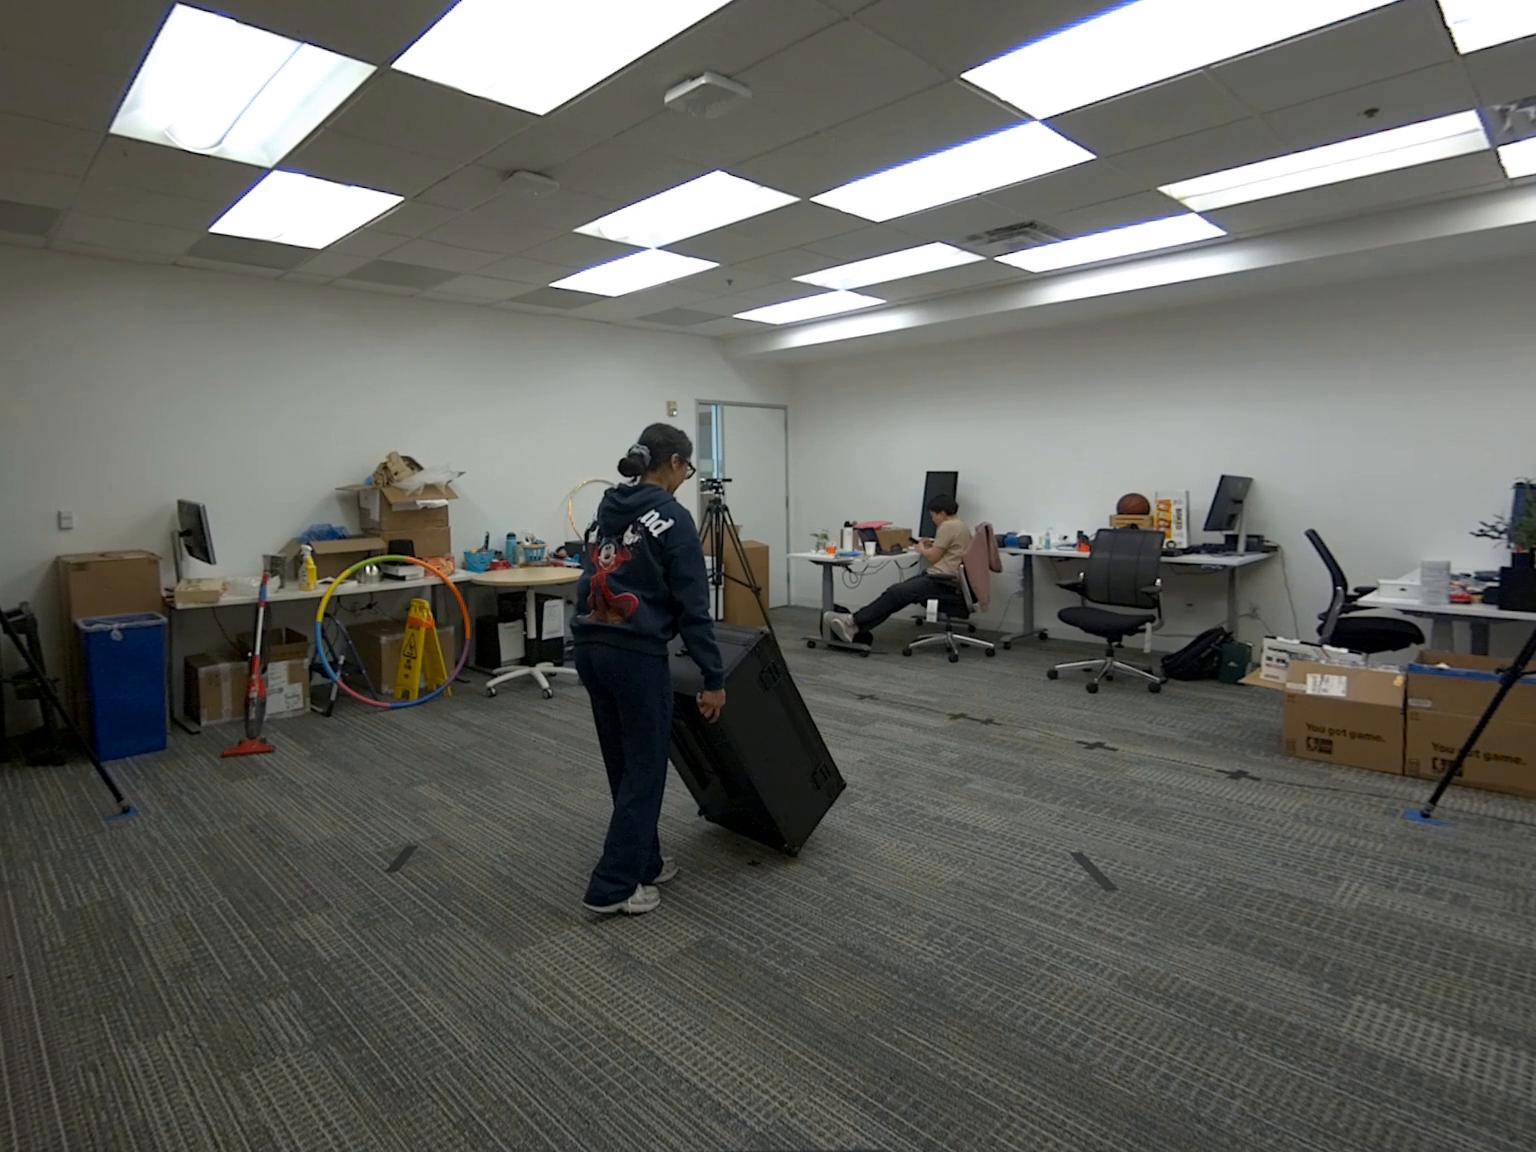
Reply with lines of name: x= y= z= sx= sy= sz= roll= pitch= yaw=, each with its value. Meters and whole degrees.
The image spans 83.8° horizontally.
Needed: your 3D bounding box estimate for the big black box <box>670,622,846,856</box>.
big black box: x=-0.109 y=0.618 z=3.196 sx=0.537 sy=0.837 sz=0.396 roll=4 pitch=39 yaw=46
